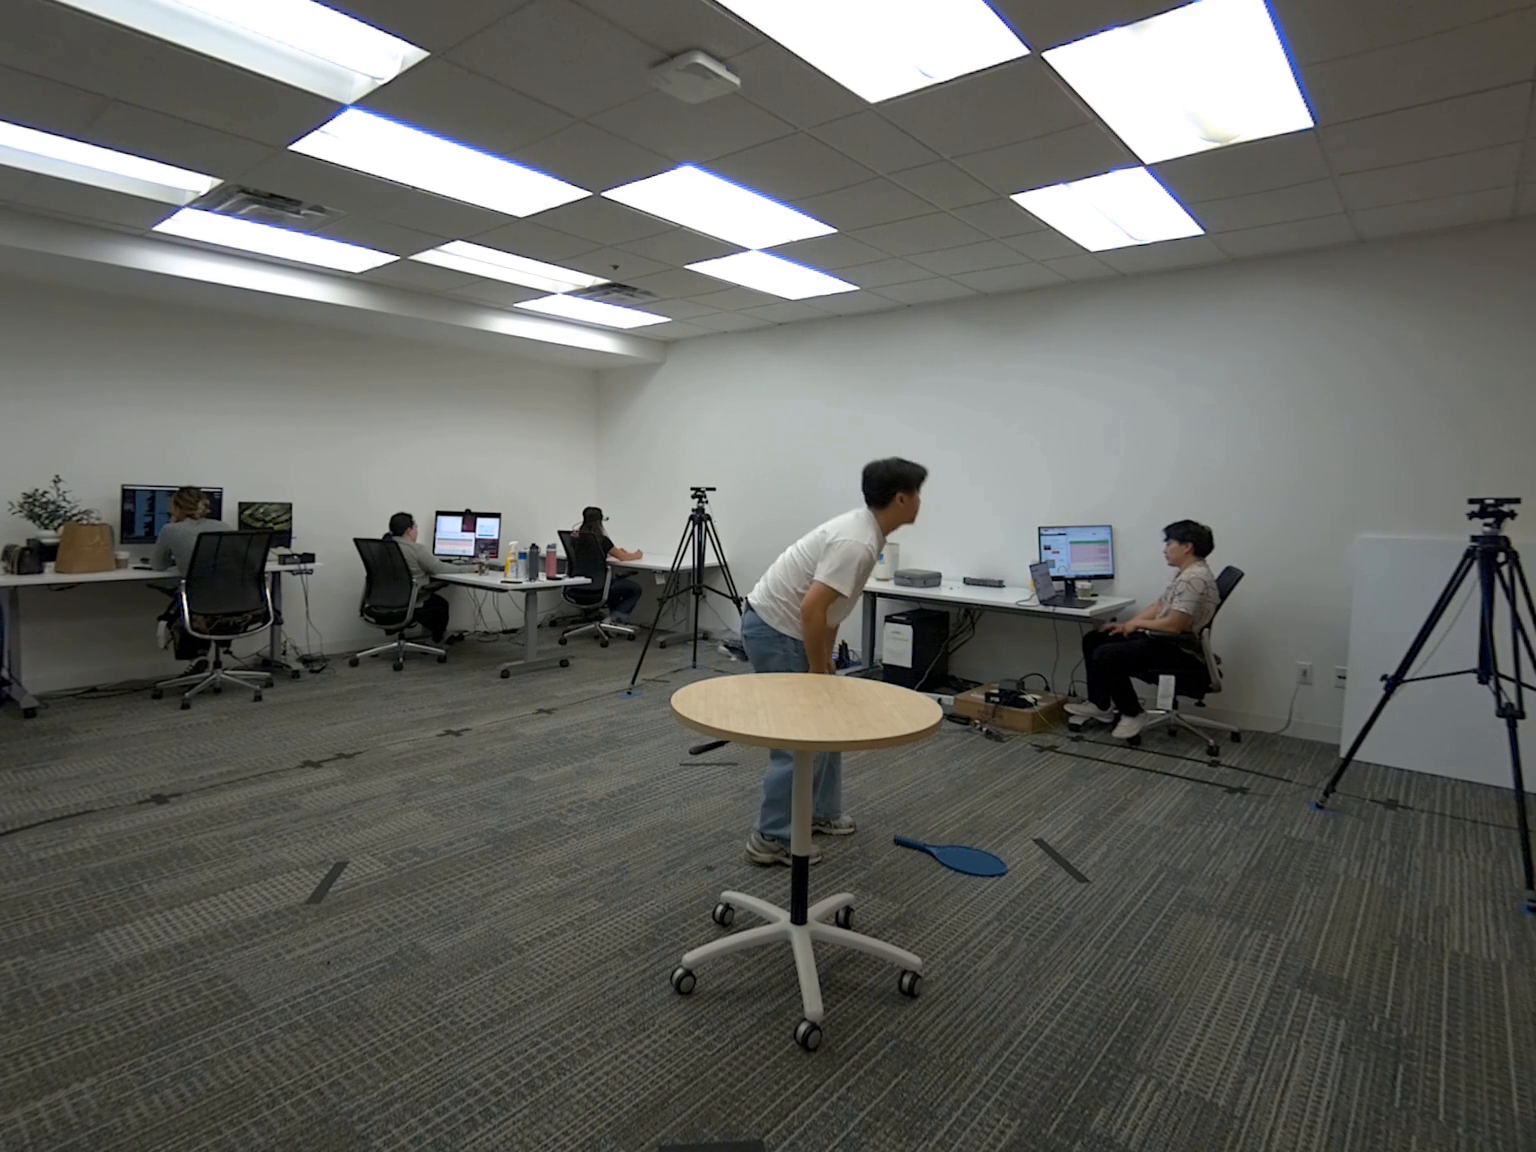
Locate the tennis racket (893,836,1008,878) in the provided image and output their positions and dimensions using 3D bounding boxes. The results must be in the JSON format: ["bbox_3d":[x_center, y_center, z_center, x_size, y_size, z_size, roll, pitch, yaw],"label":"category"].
[{"bbox_3d":[0.681,1.057,3.257,0.447,0.031,0.208,7,8,33],"label":"tennis racket"}]
